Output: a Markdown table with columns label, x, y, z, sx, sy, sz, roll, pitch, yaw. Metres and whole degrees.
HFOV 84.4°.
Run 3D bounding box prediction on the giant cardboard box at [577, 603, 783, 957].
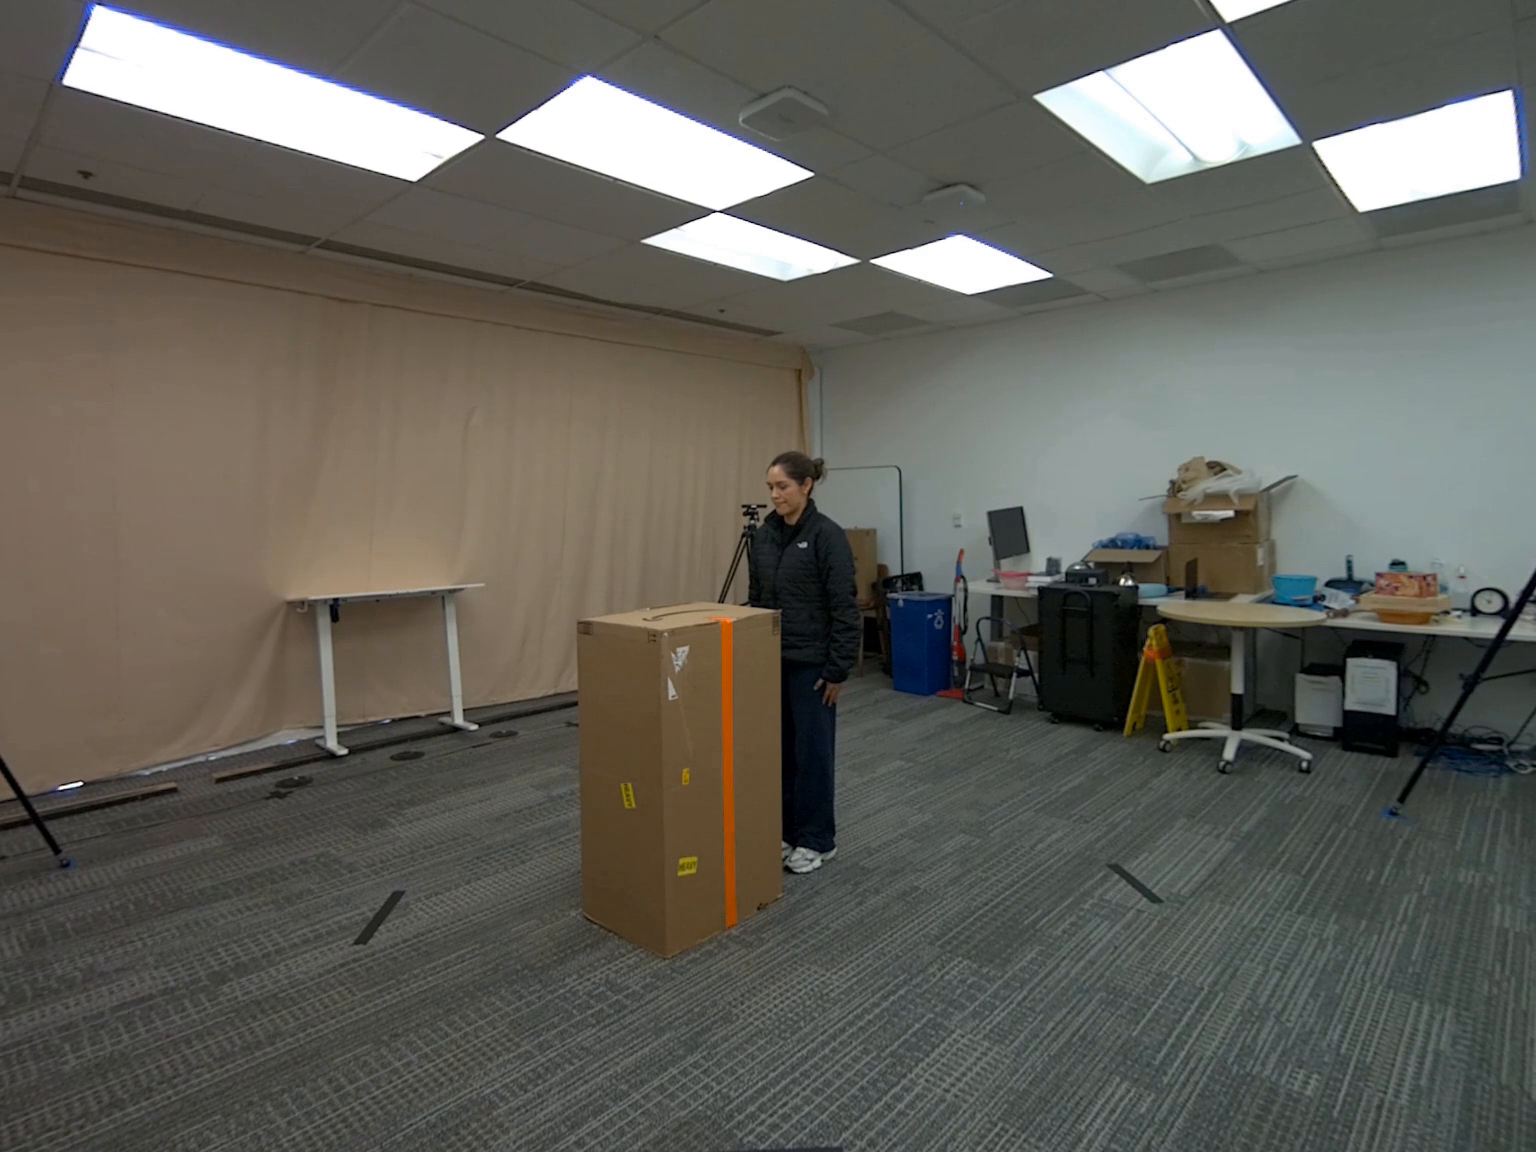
| label | x | y | z | sx | sy | sz | roll | pitch | yaw |
| --- | --- | --- | --- | --- | --- | --- | --- | --- | --- |
| giant cardboard box | -0.283 | 0.645 | 2.903 | 0.440 | 1.024 | 0.560 | 2 | 4 | 42 |
